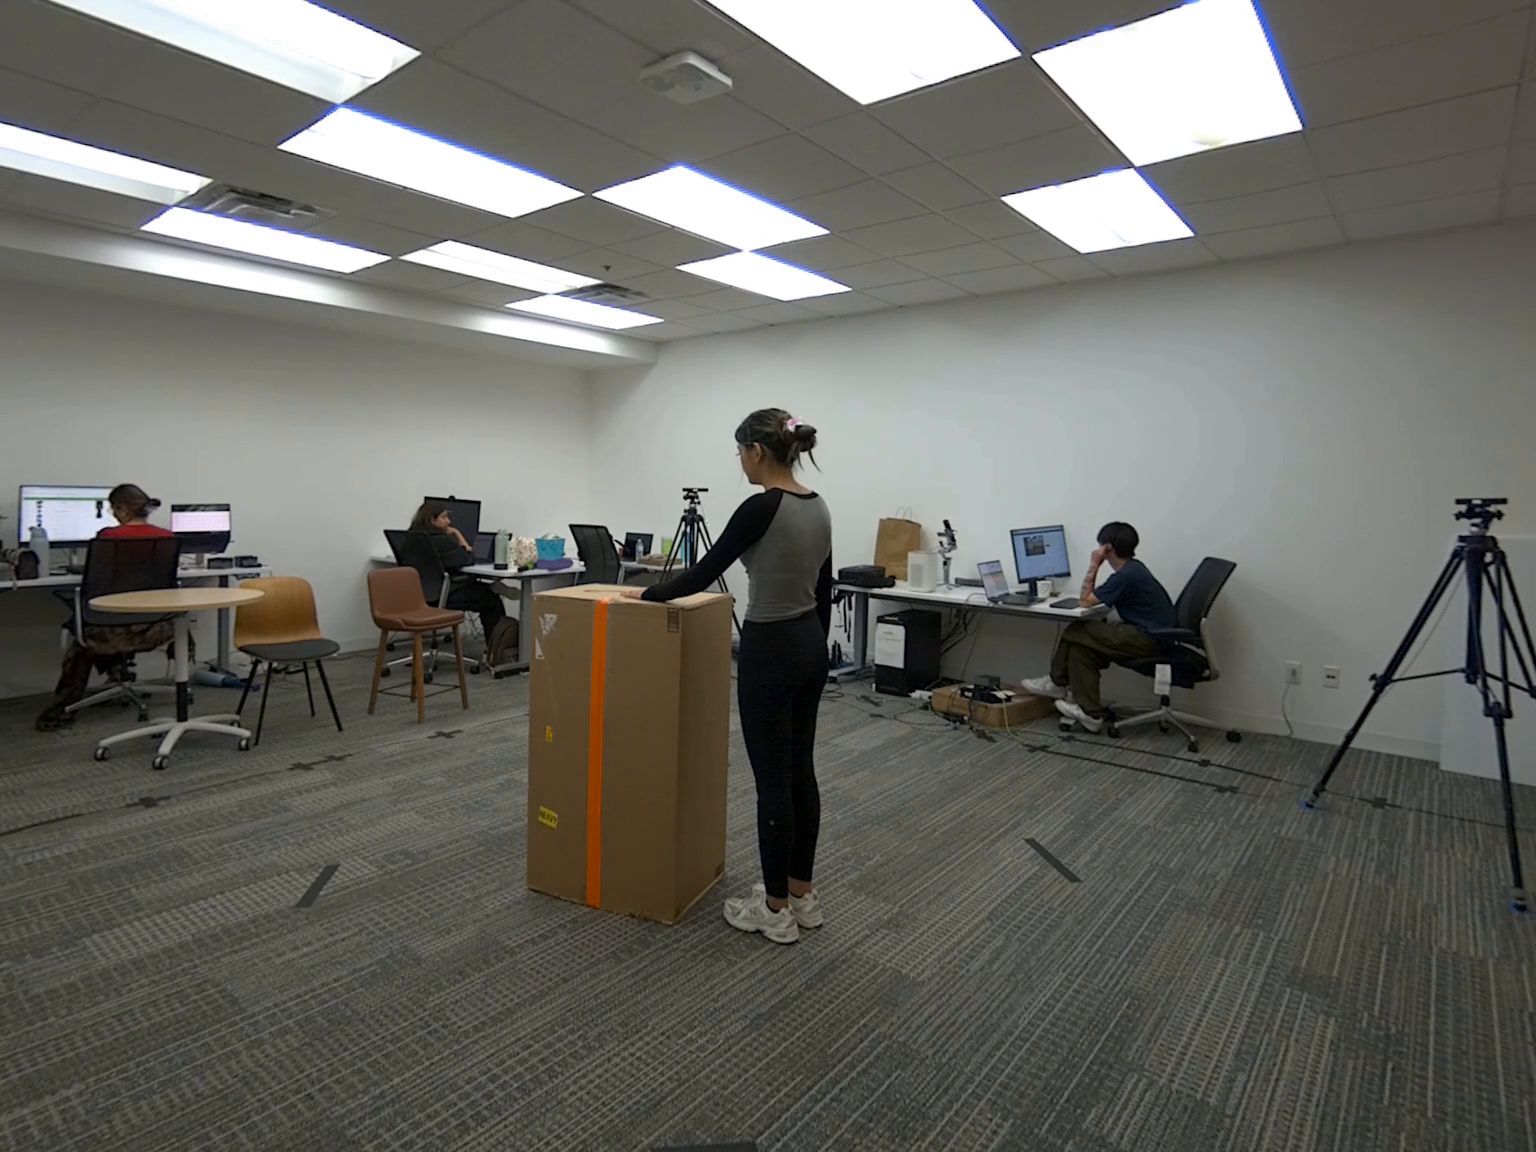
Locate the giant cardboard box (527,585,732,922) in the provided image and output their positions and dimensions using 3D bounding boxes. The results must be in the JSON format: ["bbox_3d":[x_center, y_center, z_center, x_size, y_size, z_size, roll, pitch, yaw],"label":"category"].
[{"bbox_3d":[-0.494,0.572,2.979,0.598,1.025,0.437,3,2,22],"label":"giant cardboard box"}]
